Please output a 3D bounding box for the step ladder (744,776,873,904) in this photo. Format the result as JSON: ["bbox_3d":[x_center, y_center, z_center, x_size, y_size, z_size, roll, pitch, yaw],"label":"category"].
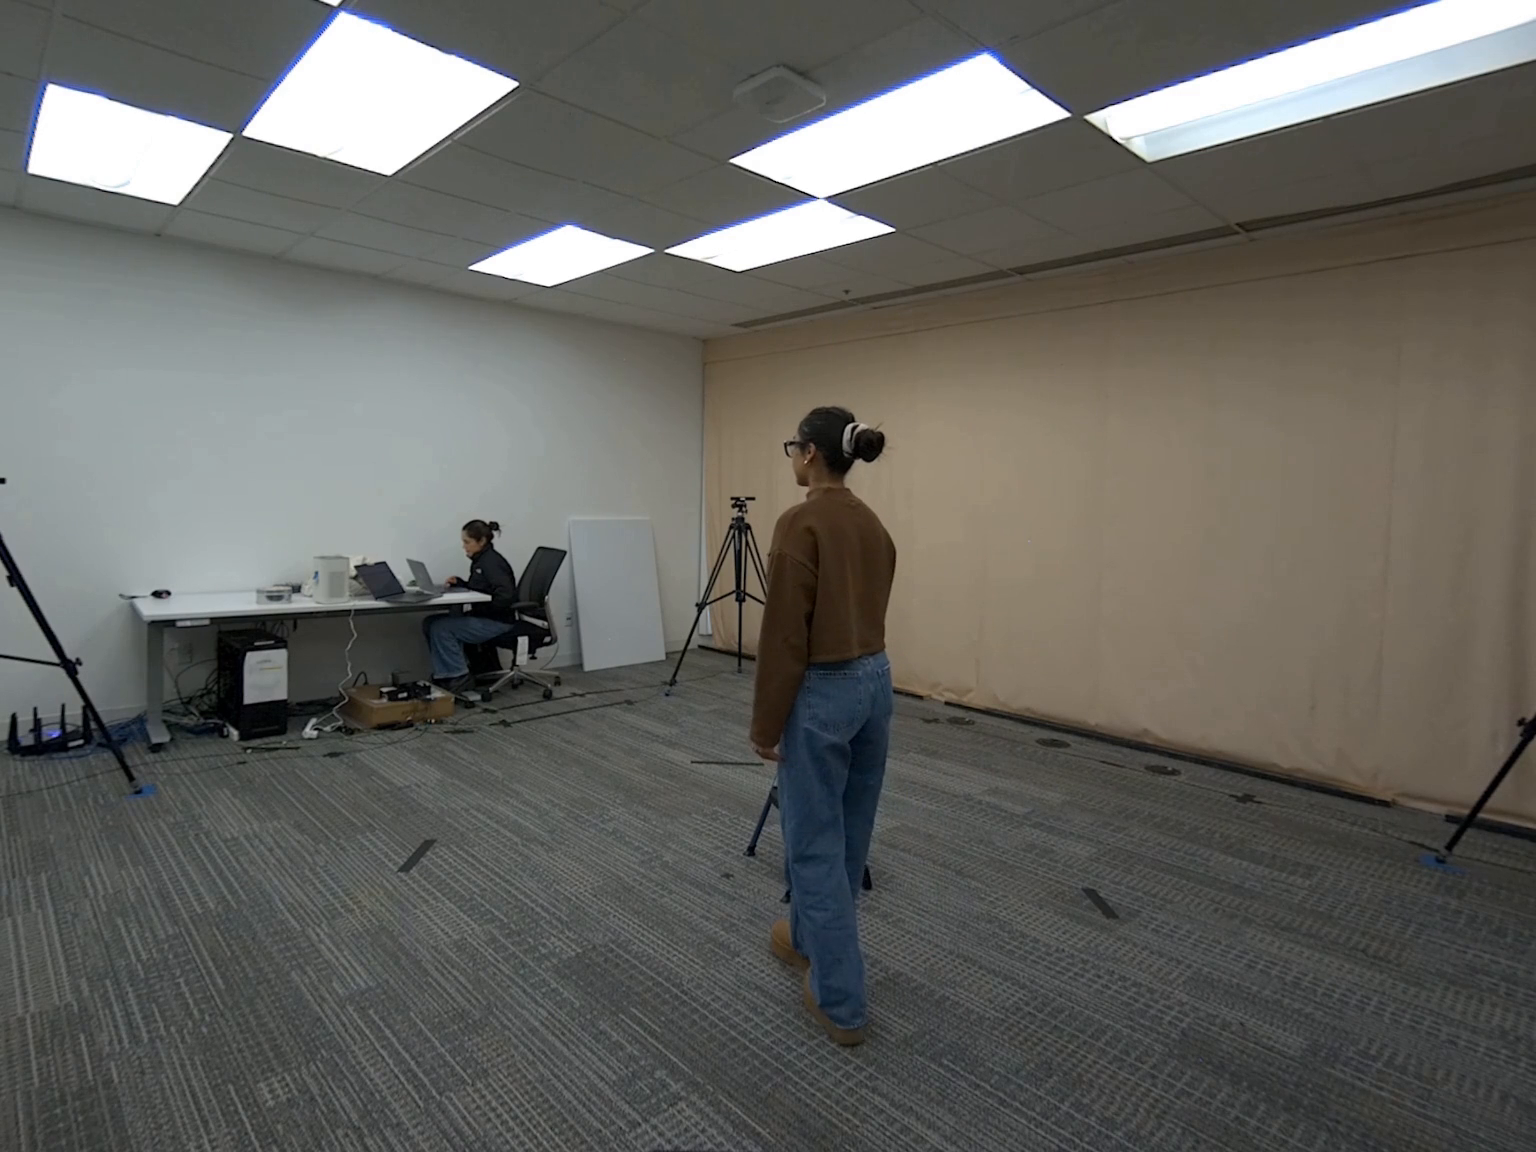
[{"bbox_3d":[0.148,0.813,3.138,0.344,0.605,0.438,0,4,-20],"label":"step ladder"}]
